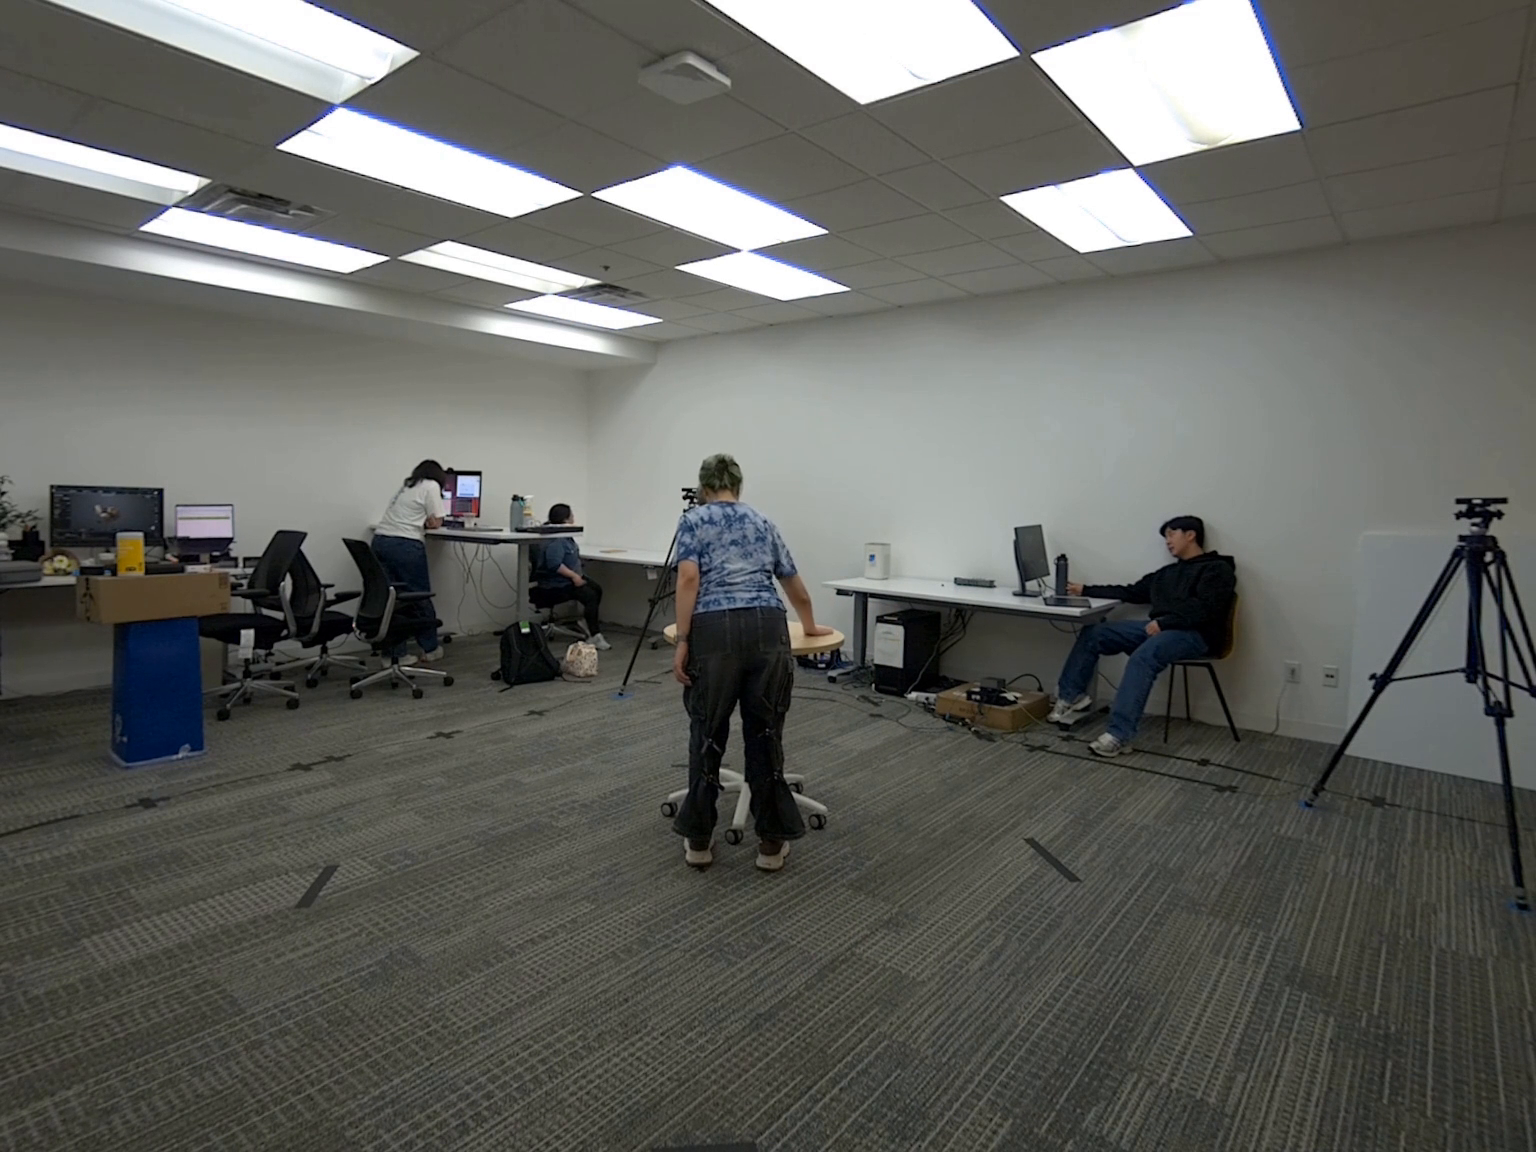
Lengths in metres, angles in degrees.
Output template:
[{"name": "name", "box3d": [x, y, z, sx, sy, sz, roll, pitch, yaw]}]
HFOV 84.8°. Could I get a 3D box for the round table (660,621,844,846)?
[{"name": "round table", "box3d": [-0.071, 0.626, 3.628, 0.784, 0.784, 0.789, 1, 4, -2]}]
